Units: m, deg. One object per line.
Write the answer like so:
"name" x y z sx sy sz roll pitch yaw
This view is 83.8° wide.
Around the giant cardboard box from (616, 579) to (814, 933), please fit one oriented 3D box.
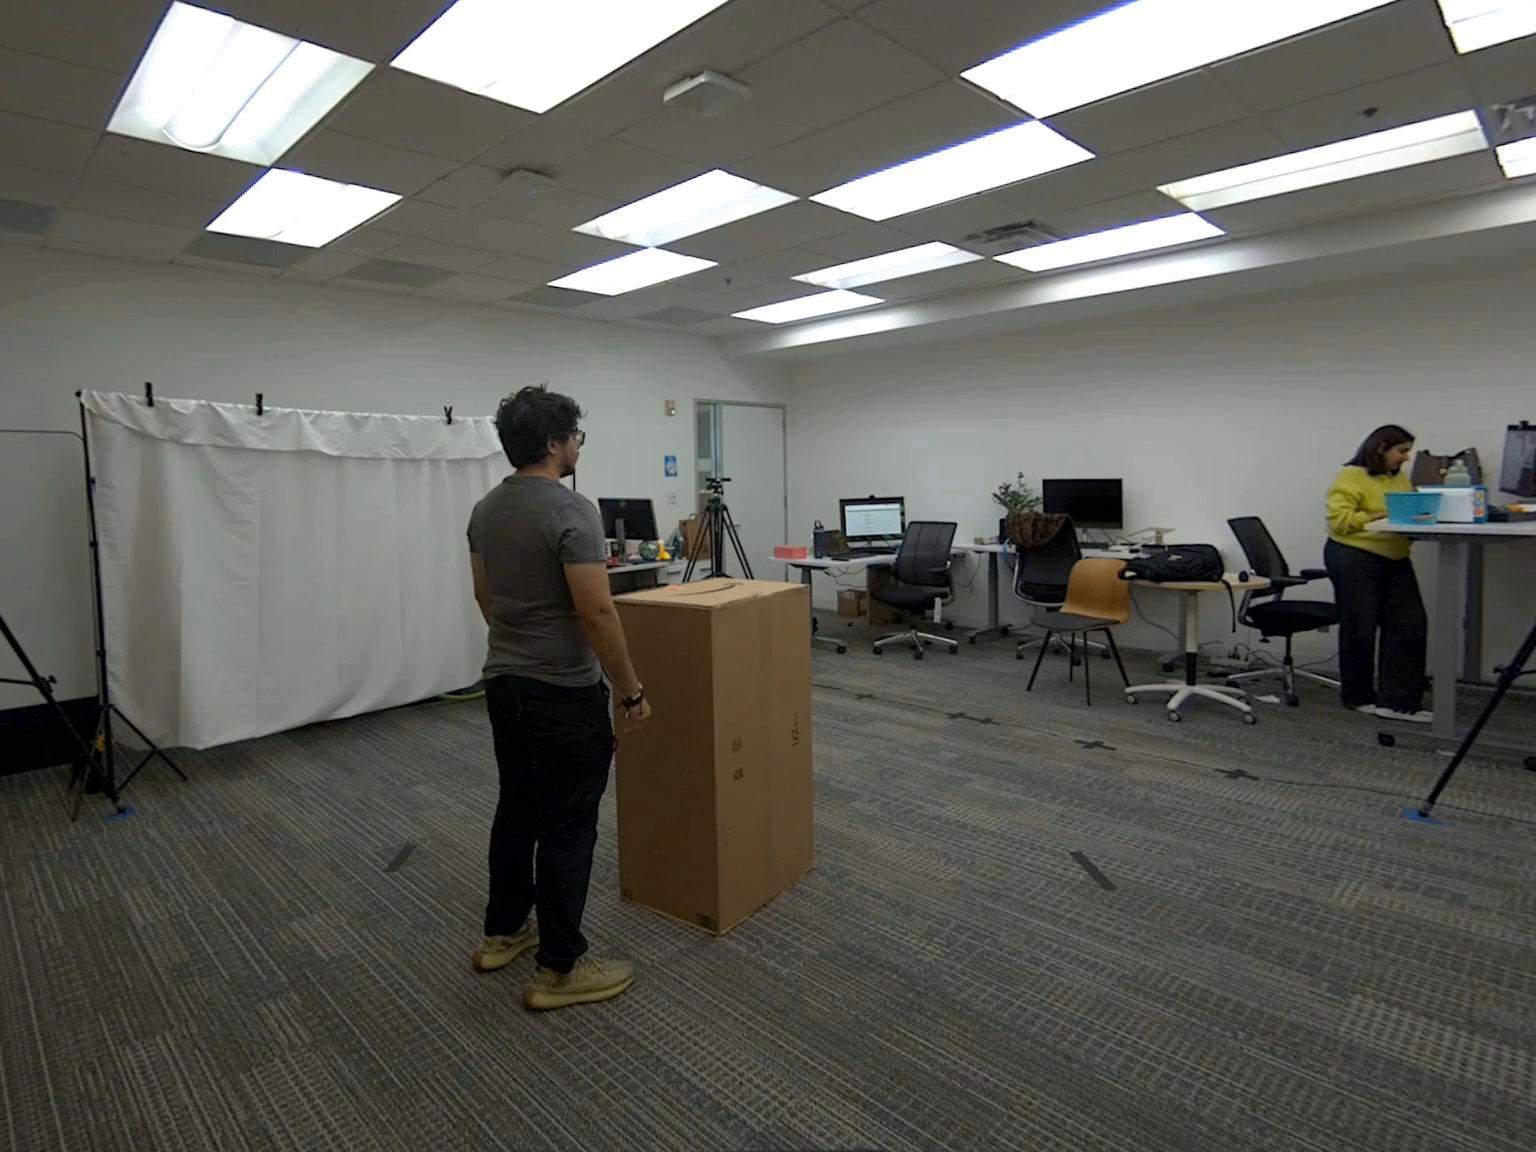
"giant cardboard box" -0.174 0.560 2.922 0.459 1.023 0.570 2 6 34
